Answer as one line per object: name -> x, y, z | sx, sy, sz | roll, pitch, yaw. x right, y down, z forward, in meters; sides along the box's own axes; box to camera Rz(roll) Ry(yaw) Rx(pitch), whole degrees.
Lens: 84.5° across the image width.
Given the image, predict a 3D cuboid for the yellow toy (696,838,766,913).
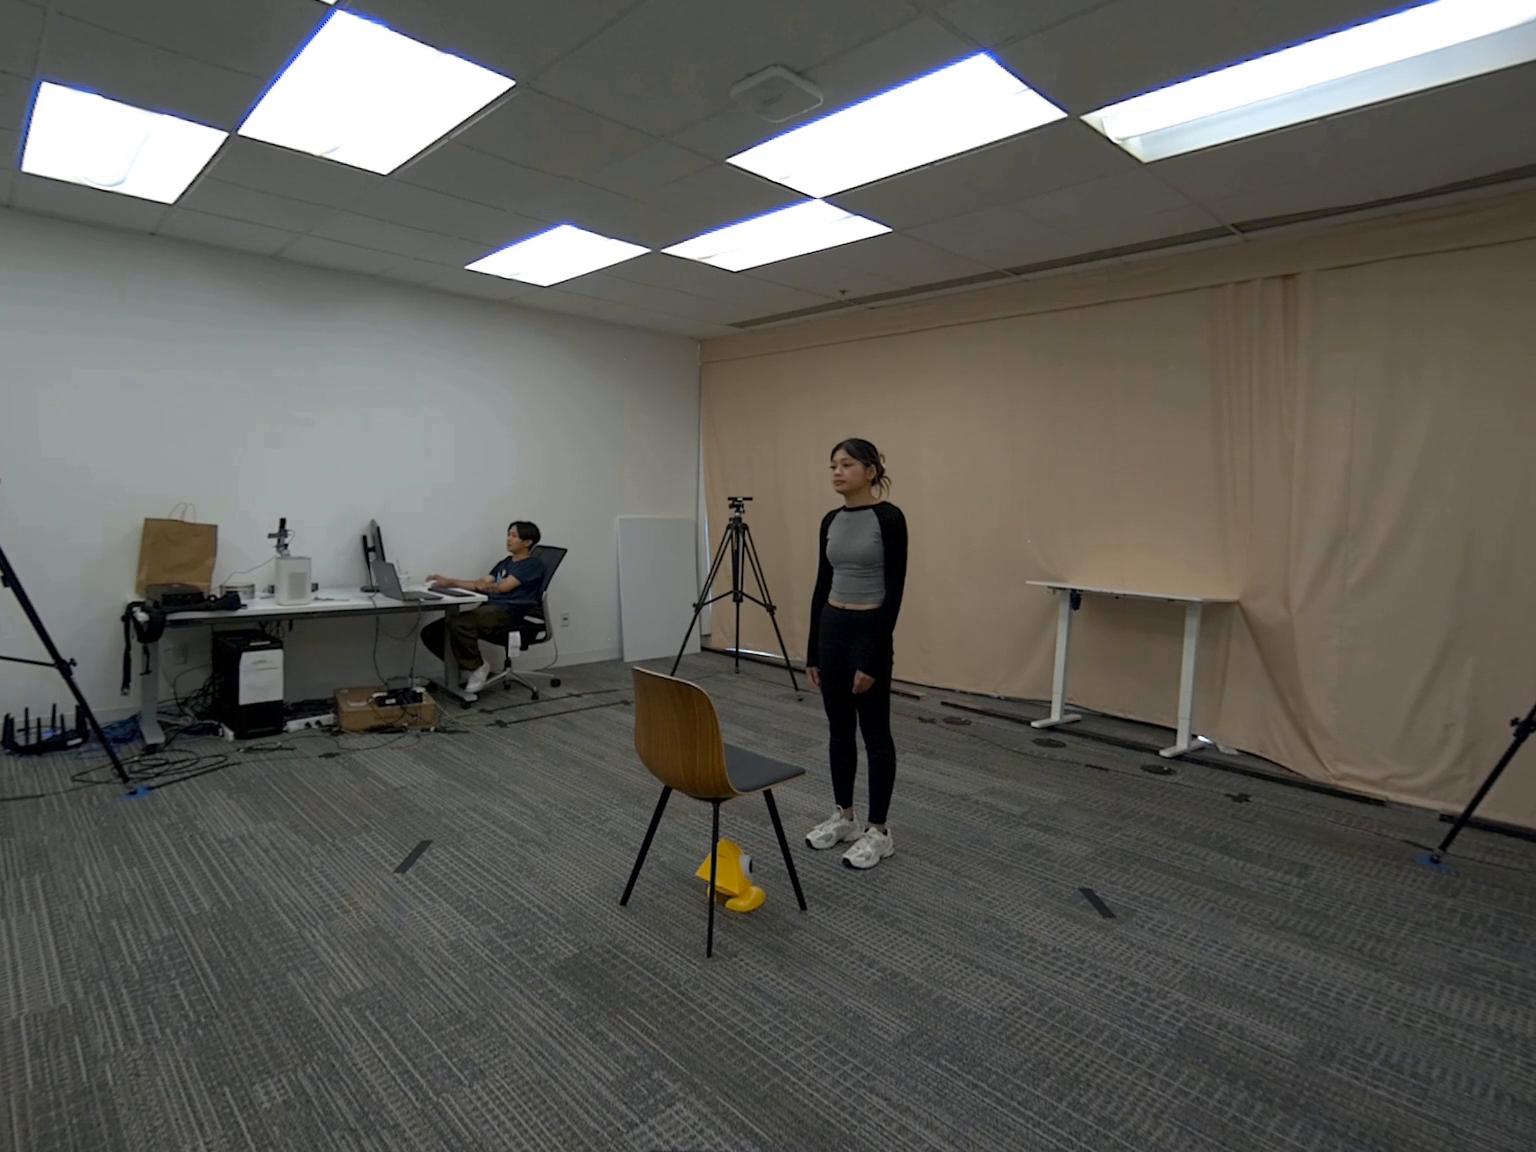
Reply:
yellow toy -> -0.123, 1.014, 2.929 | 0.210, 0.230, 0.189 | 3, 5, 43
